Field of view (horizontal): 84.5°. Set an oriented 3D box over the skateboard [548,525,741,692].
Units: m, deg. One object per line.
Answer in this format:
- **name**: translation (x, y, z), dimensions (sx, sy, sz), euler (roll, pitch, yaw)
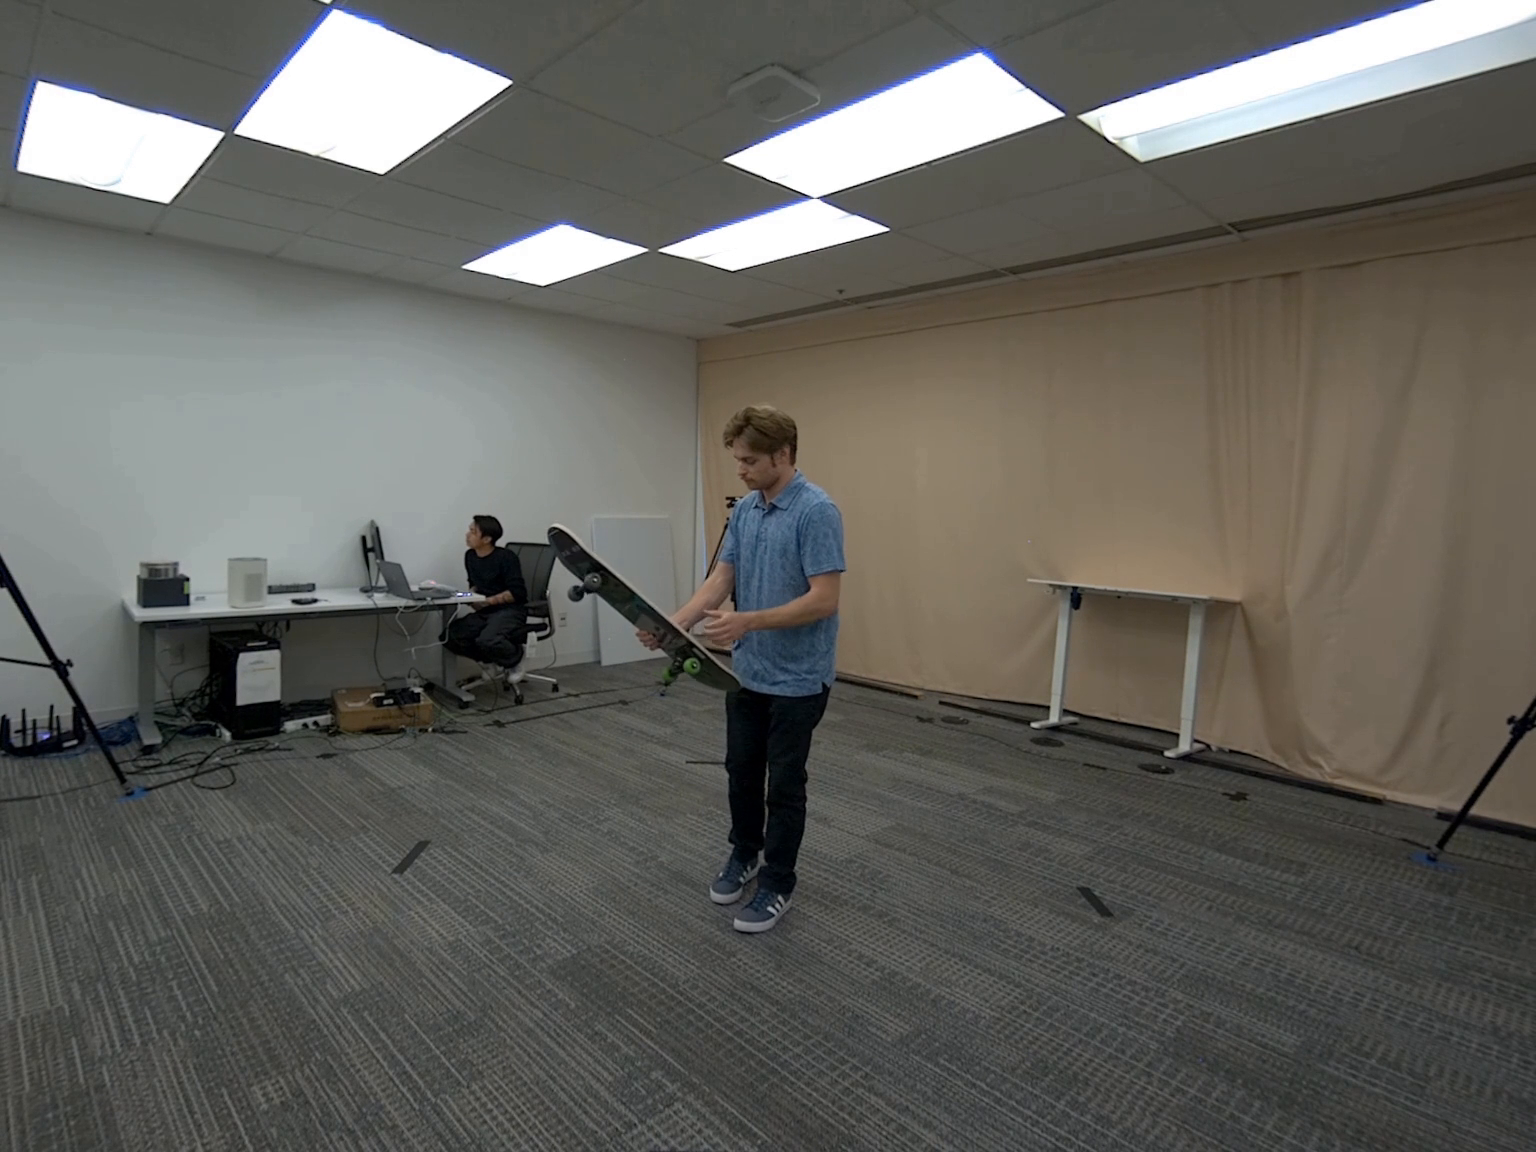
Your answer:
- **skateboard**: translation (-0.397, 0.147, 2.611), dimensions (0.195, 0.776, 0.111), euler (-32, 18, 54)
